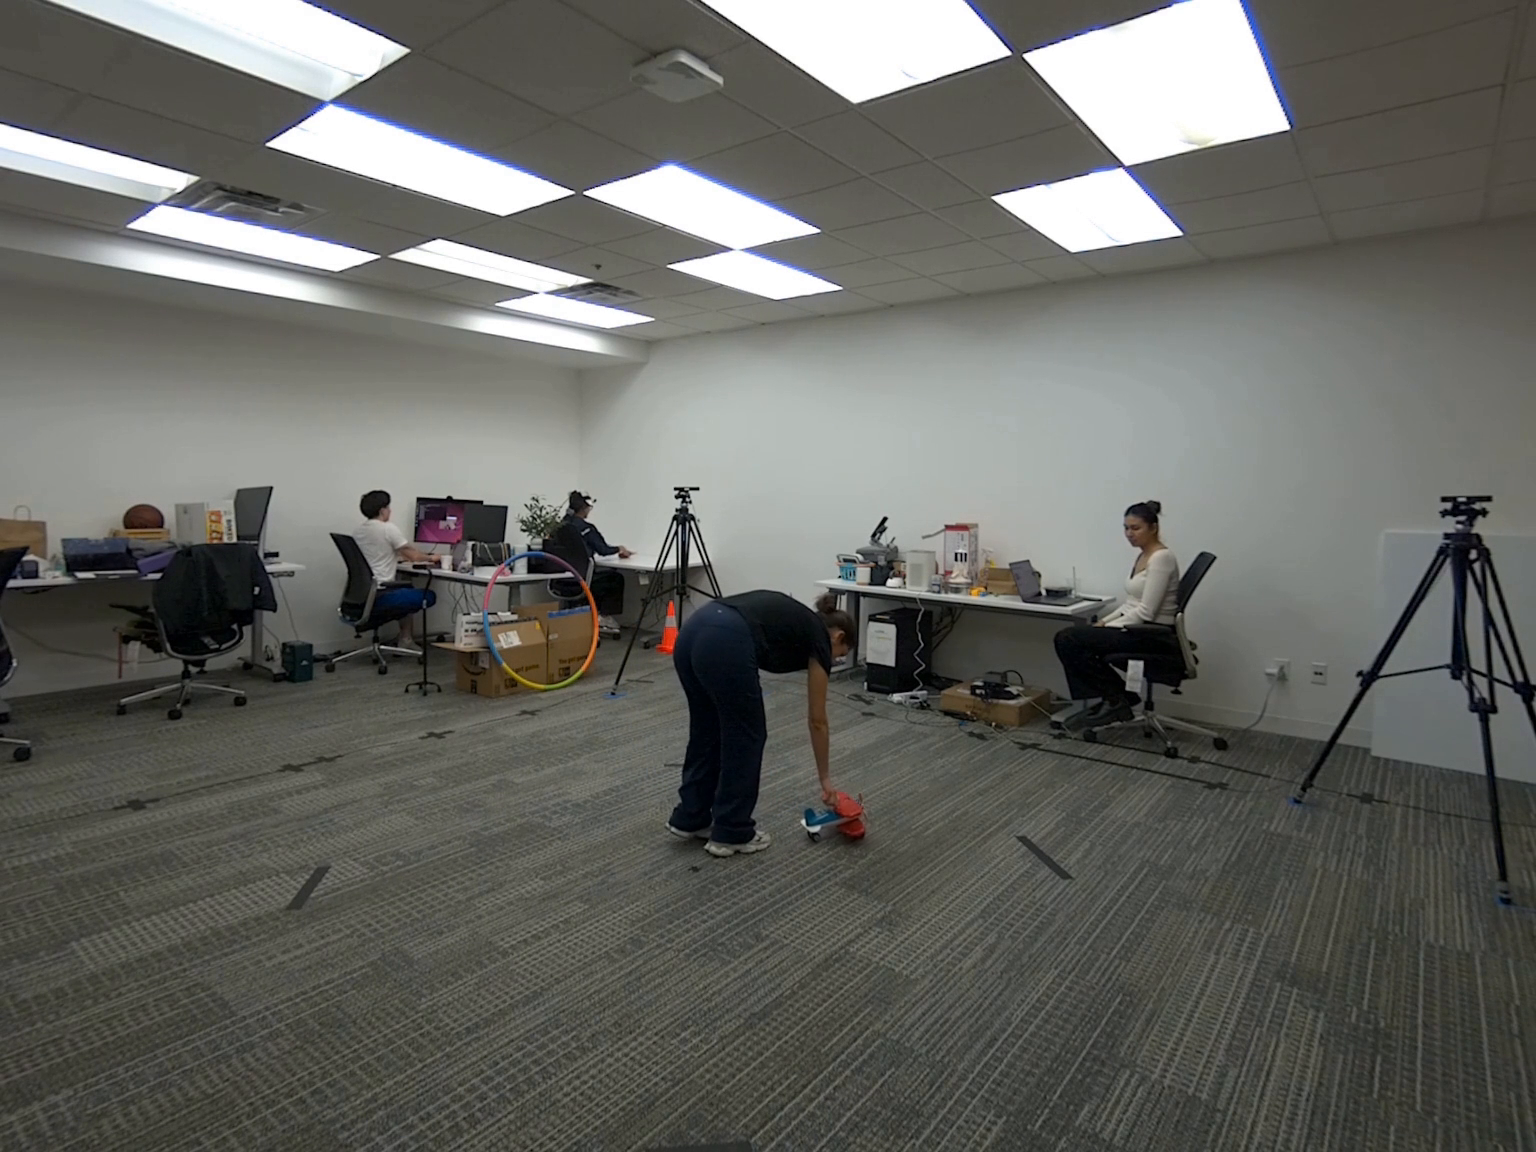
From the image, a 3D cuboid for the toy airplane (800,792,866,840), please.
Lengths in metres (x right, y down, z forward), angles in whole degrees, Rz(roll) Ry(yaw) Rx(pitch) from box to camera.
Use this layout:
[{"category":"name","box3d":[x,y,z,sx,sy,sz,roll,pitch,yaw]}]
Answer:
[{"category":"toy airplane","box3d":[0.290,0.977,3.406,0.260,0.156,0.251,6,7,44]}]
